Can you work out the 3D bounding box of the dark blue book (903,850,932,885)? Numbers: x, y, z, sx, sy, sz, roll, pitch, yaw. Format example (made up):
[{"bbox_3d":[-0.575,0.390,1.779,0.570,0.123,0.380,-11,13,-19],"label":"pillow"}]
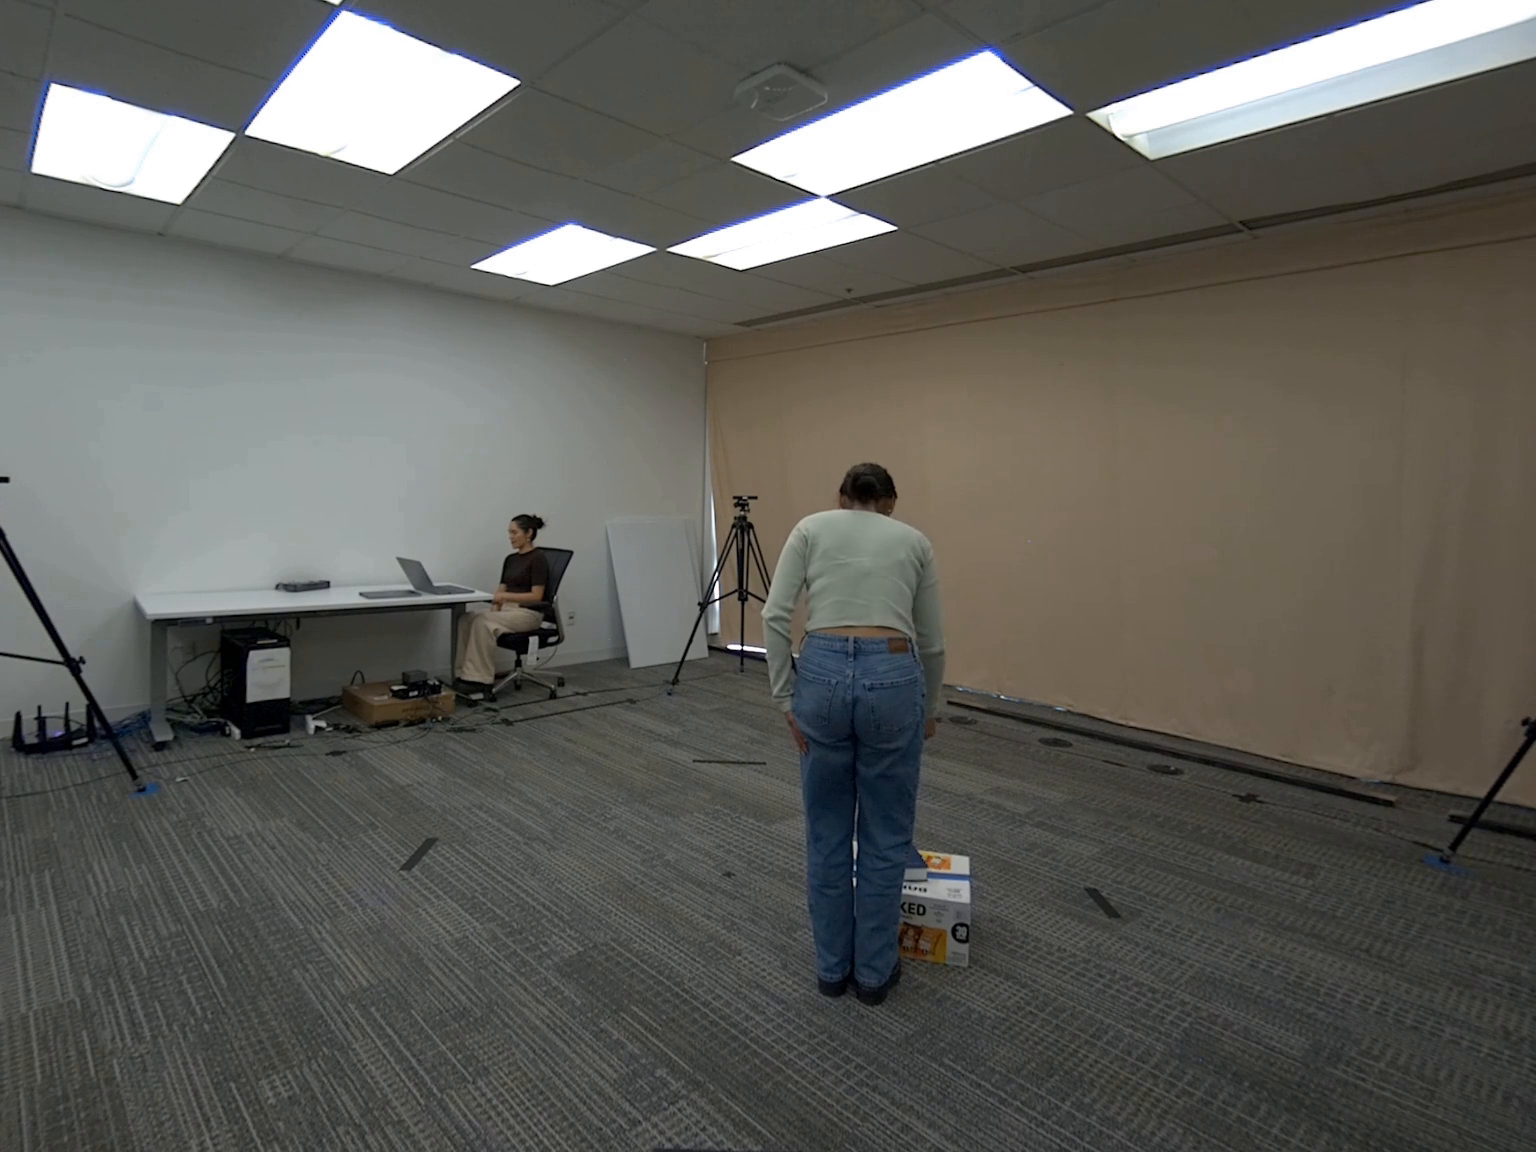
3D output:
[{"bbox_3d":[0.413,0.931,2.773,0.162,0.045,0.247,2,6,-8],"label":"dark blue book"}]
